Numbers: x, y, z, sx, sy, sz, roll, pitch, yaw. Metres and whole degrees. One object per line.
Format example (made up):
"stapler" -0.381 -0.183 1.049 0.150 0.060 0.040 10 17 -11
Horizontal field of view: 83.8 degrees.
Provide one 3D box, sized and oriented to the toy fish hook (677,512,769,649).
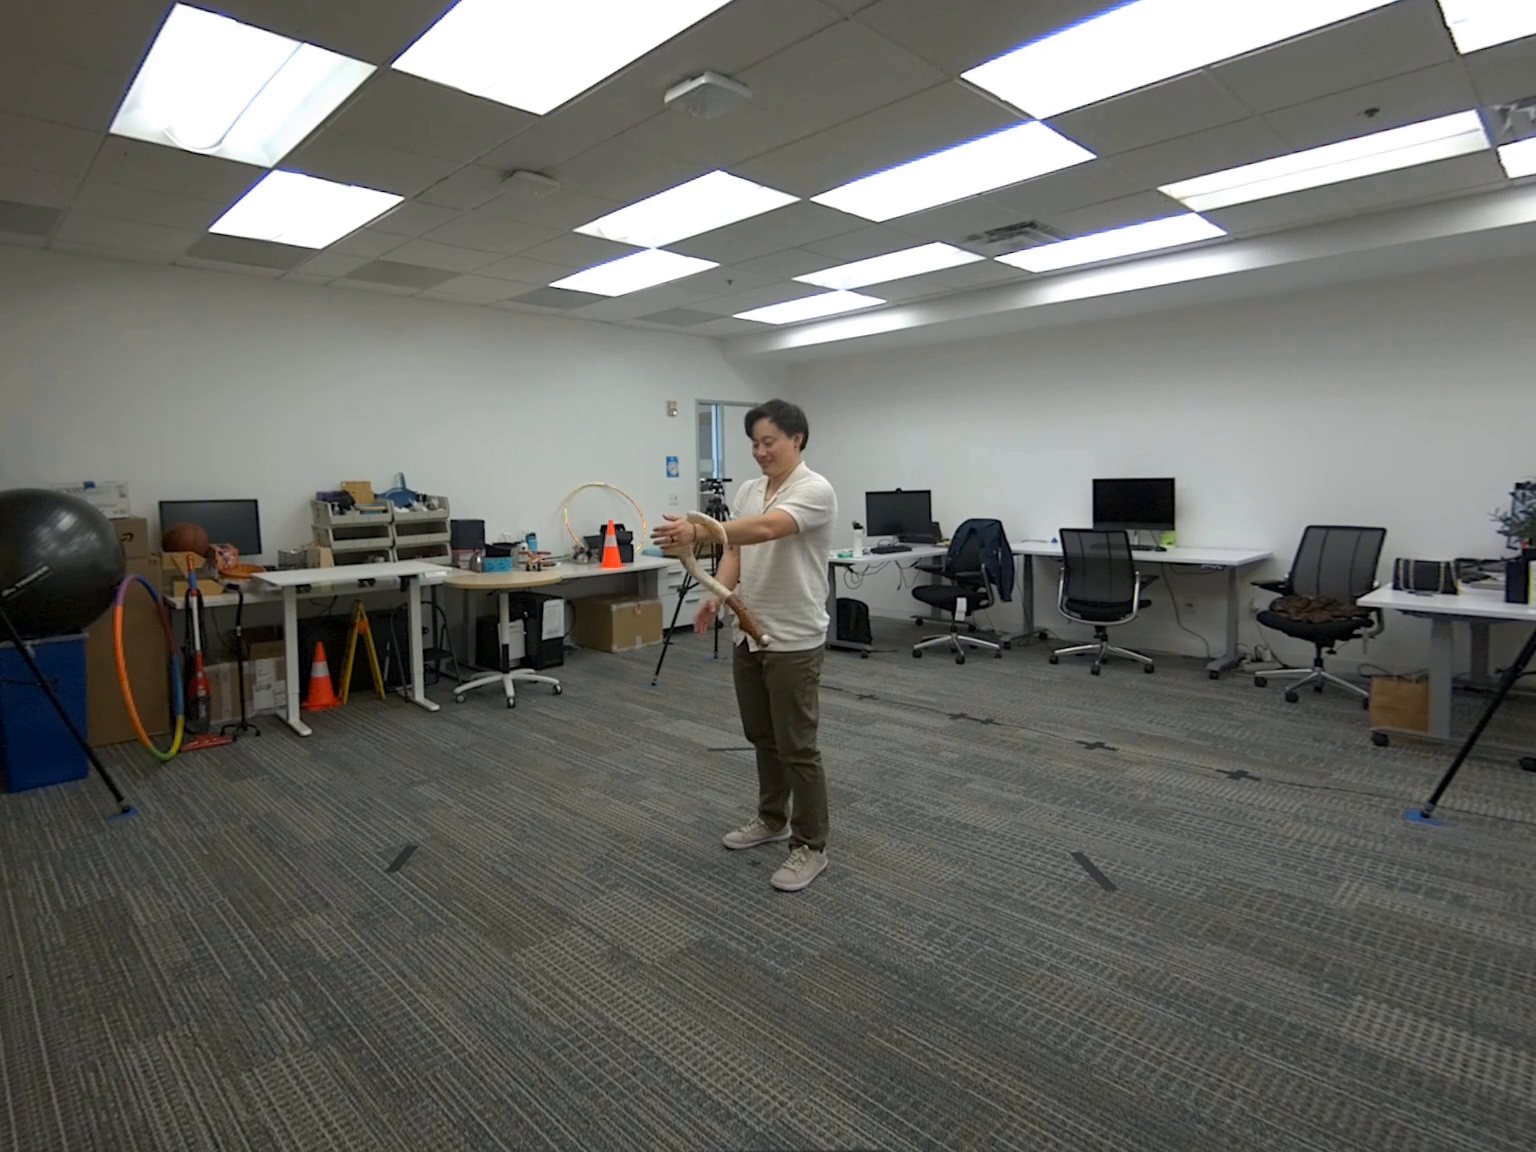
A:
"toy fish hook" -0.140 0.001 2.687 0.047 0.222 0.523 -14 54 -41
